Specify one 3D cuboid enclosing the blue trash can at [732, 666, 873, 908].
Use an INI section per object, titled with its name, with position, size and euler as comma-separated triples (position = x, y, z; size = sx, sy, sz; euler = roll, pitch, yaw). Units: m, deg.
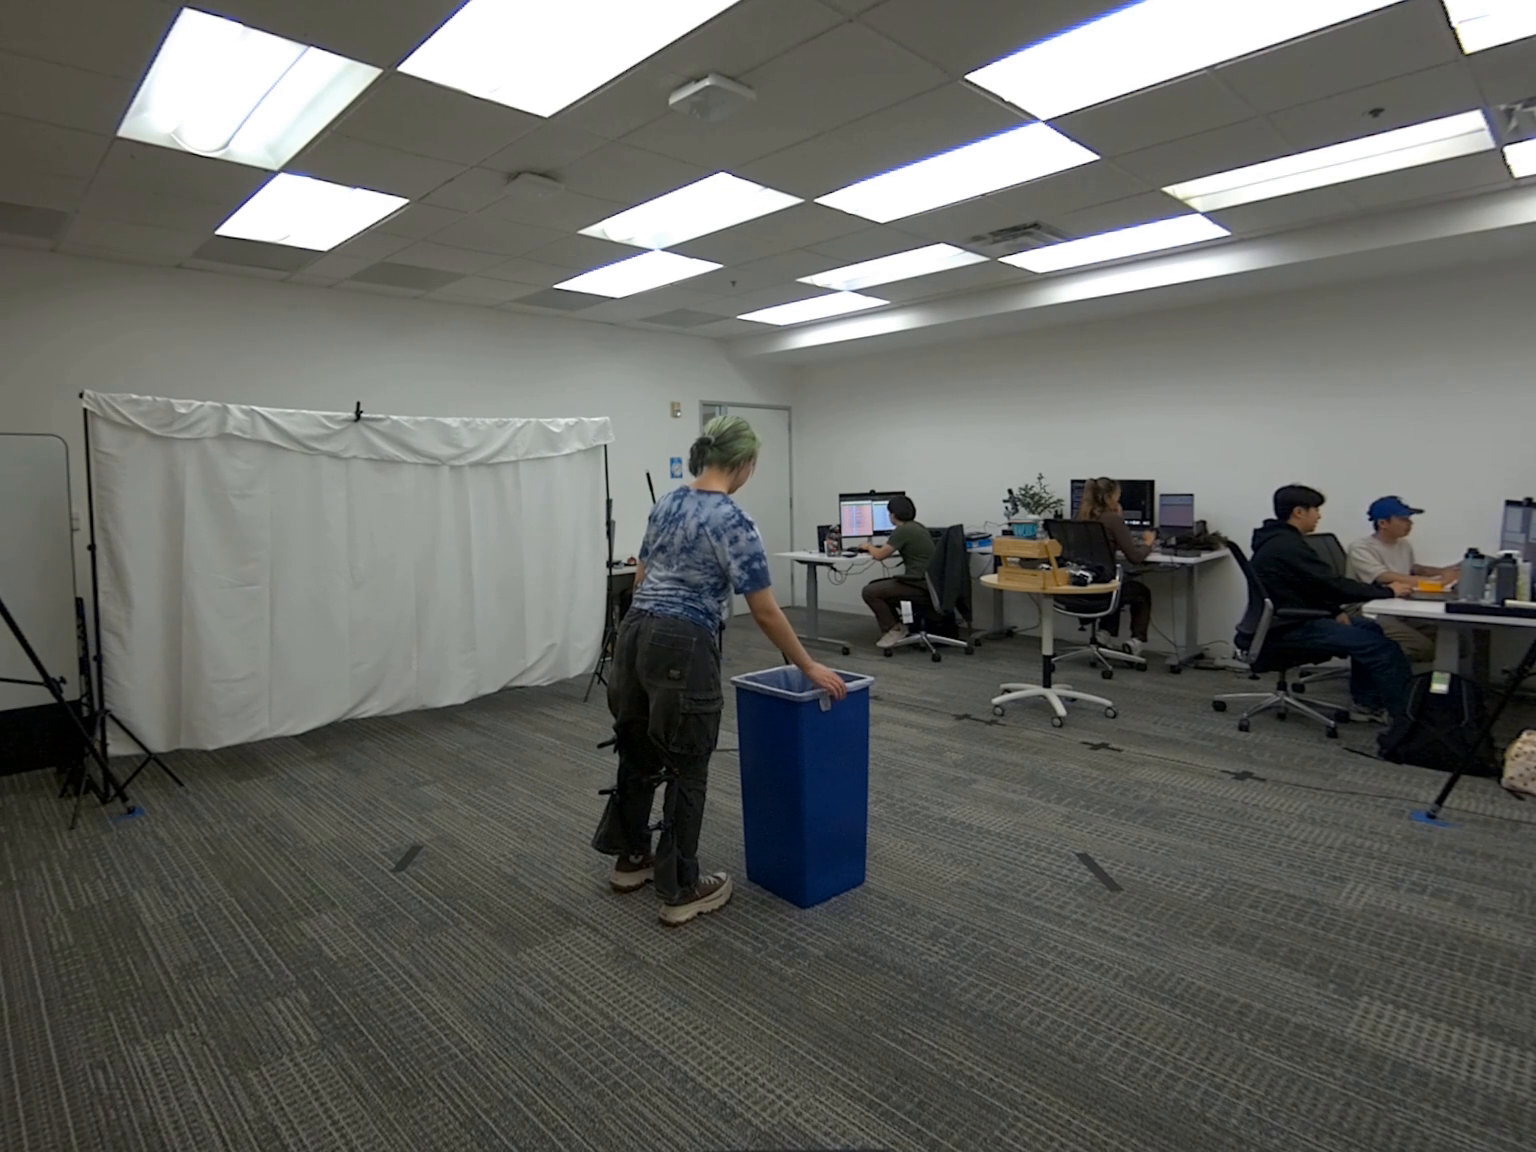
[blue trash can]
position = 0.121, 0.702, 2.961
size = 0.368, 0.711, 0.385
euler = -4, 5, -40
